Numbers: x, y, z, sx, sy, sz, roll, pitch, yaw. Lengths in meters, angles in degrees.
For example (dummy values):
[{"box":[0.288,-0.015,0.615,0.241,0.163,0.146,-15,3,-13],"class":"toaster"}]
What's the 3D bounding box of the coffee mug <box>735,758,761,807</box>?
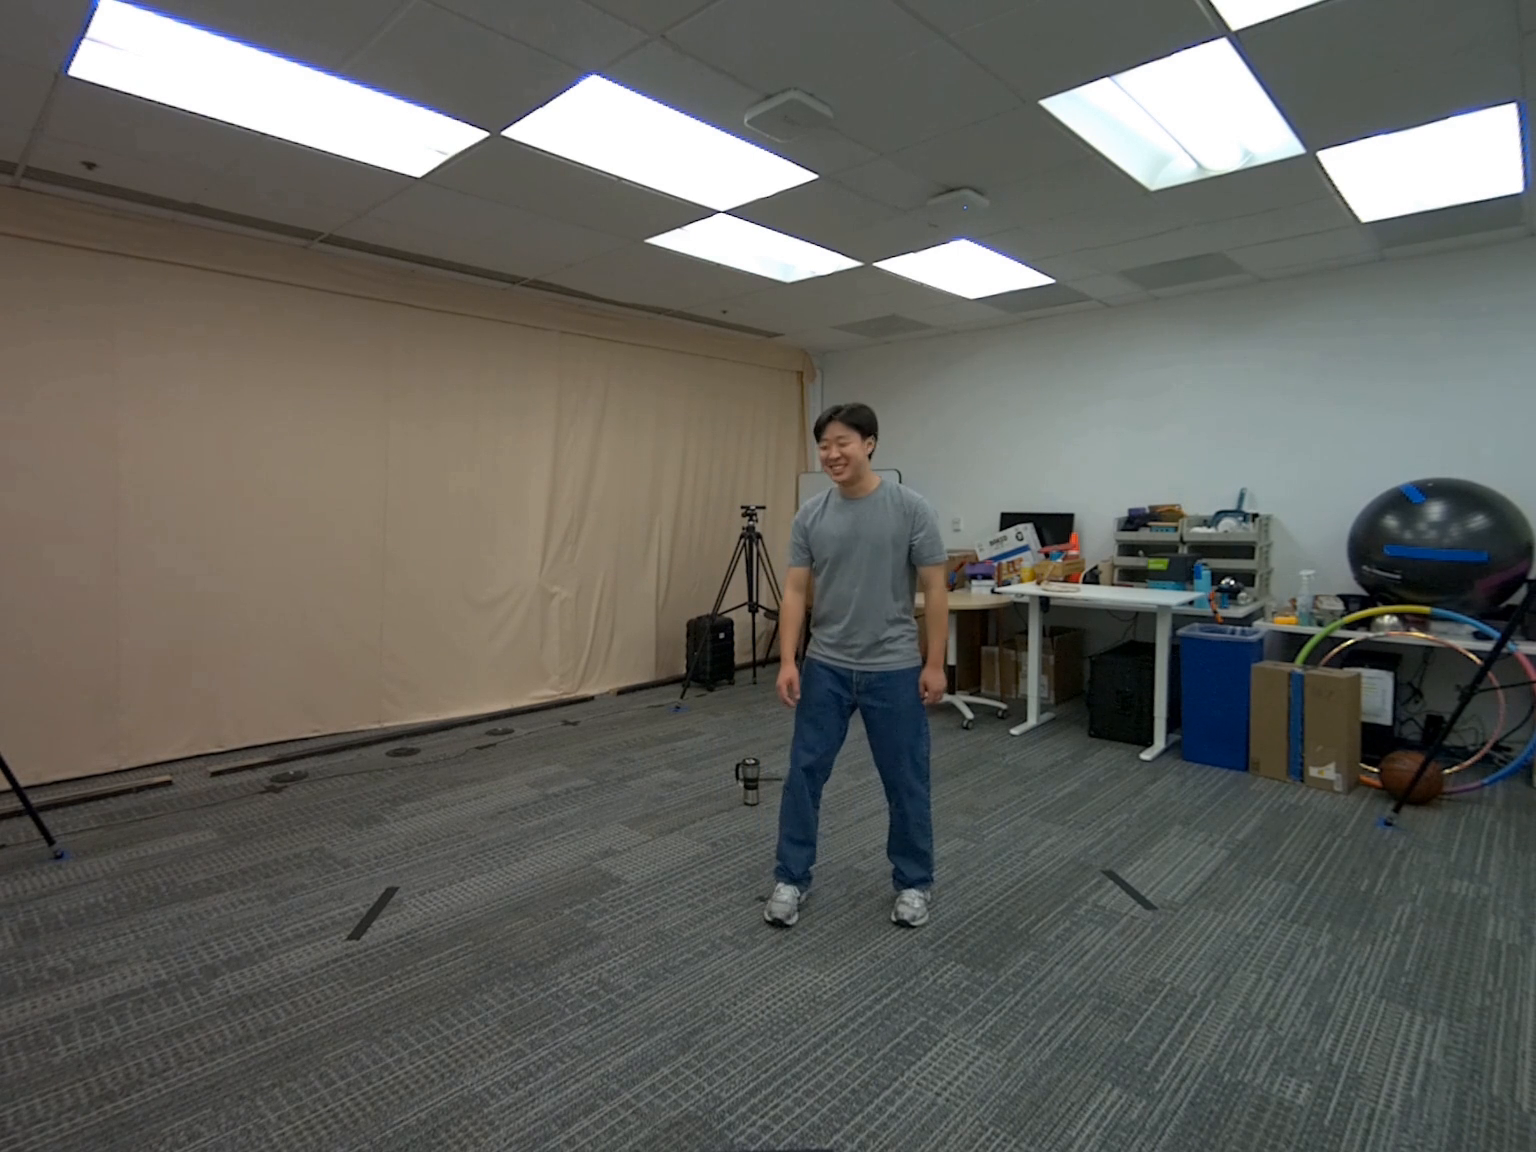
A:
[{"box":[-0.091,0.965,3.962,0.126,0.202,0.085,5,8,43],"class":"coffee mug"}]
